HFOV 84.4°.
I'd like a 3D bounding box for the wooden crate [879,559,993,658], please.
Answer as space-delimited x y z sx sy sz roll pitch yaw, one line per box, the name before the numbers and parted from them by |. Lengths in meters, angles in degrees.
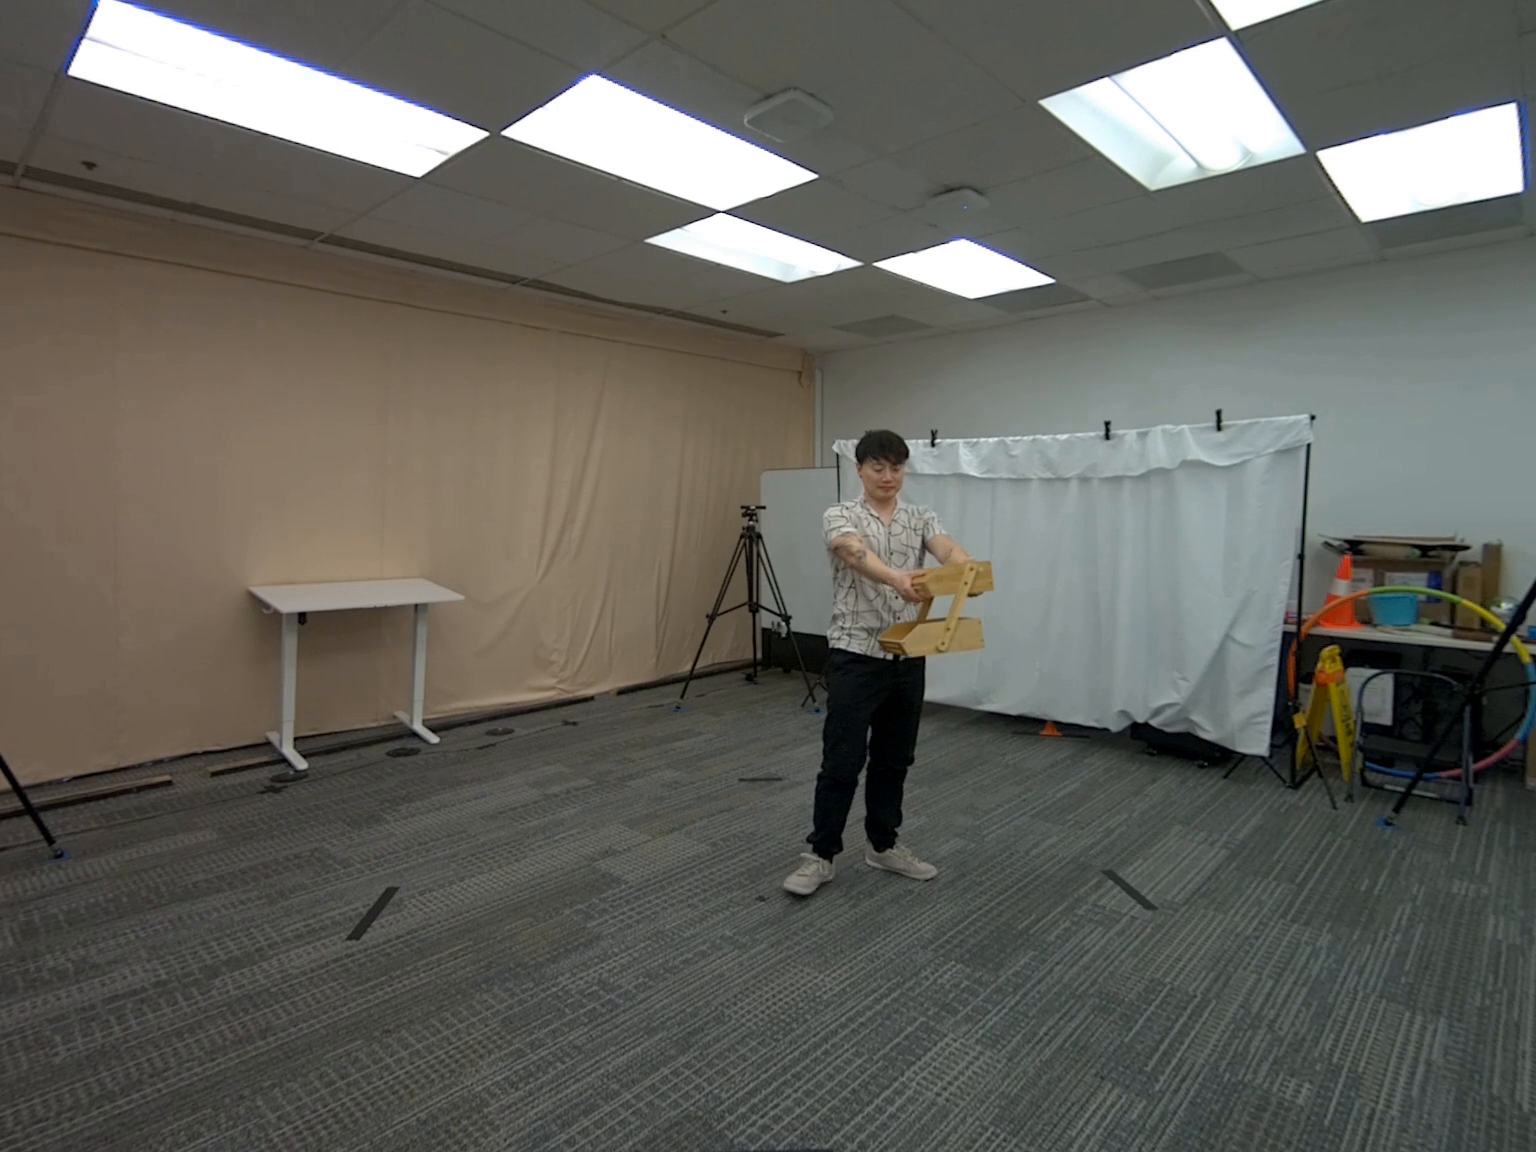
wooden crate | 0.487 0.096 2.660 0.300 0.274 0.326 -4 -2 -6
